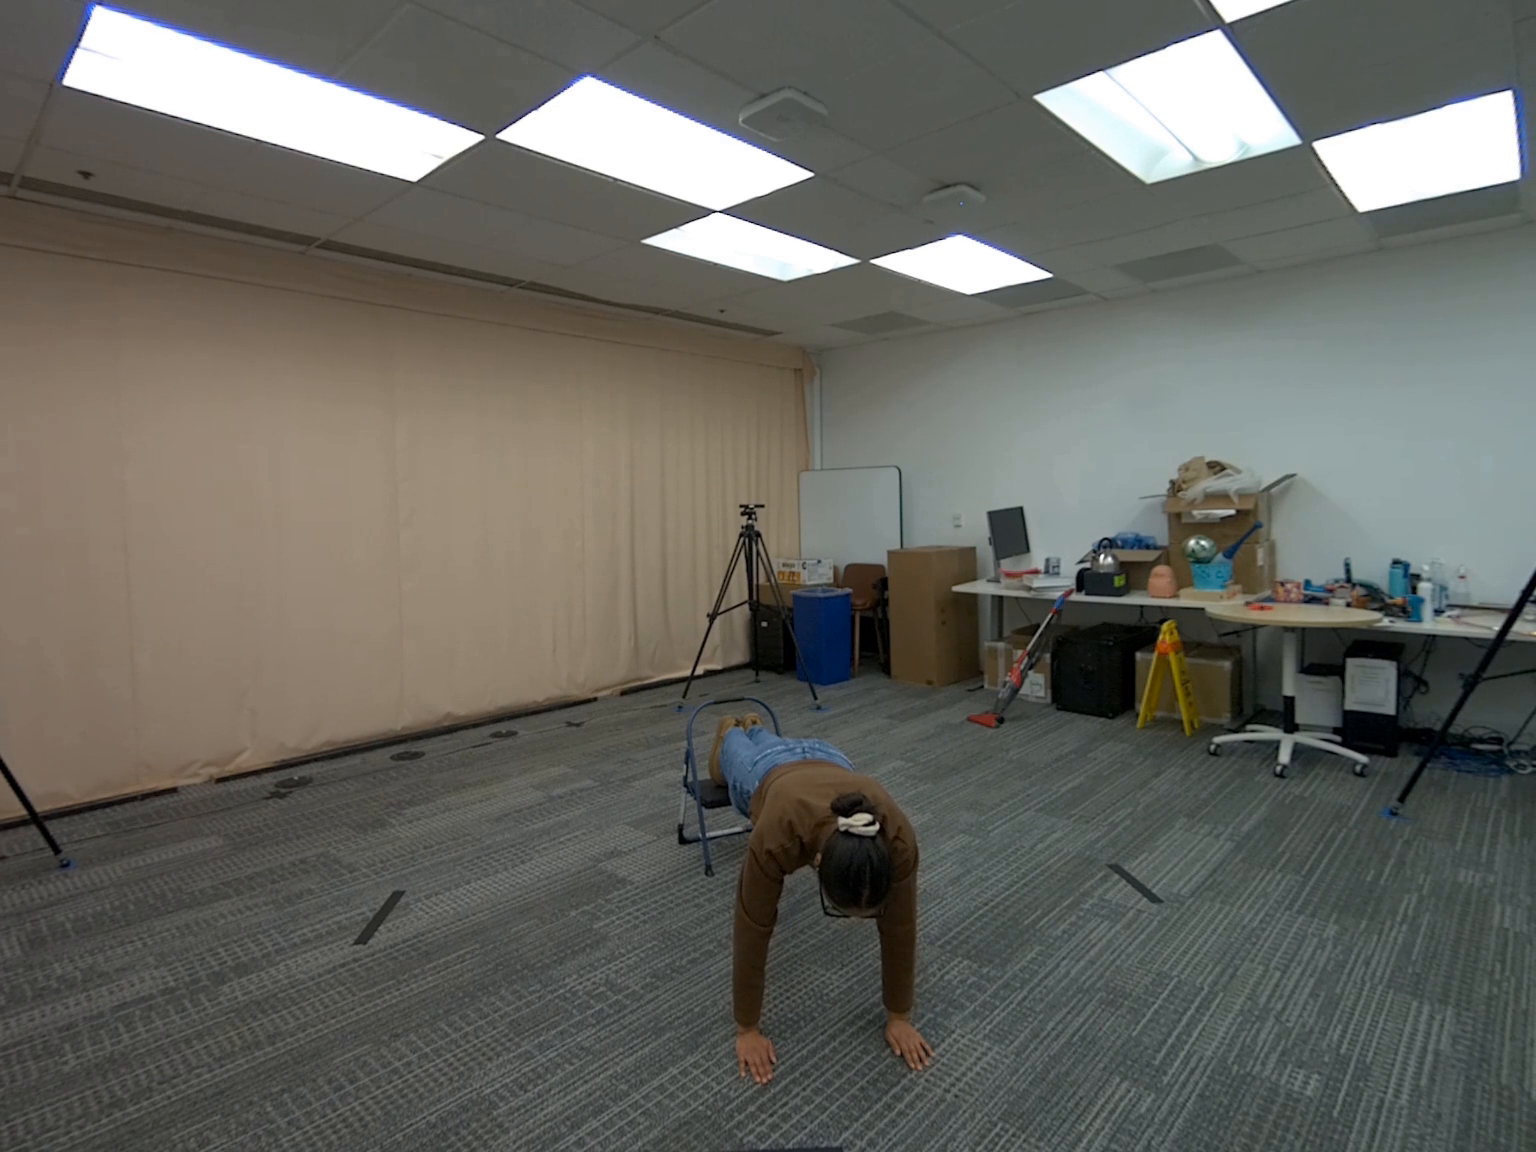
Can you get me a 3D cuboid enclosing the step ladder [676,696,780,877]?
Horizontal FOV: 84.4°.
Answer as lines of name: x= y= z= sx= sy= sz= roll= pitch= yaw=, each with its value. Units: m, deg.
step ladder: x=-0.119 y=0.806 z=3.388 sx=0.420 sy=0.605 sz=0.358 roll=-3 pitch=4 yaw=-25
